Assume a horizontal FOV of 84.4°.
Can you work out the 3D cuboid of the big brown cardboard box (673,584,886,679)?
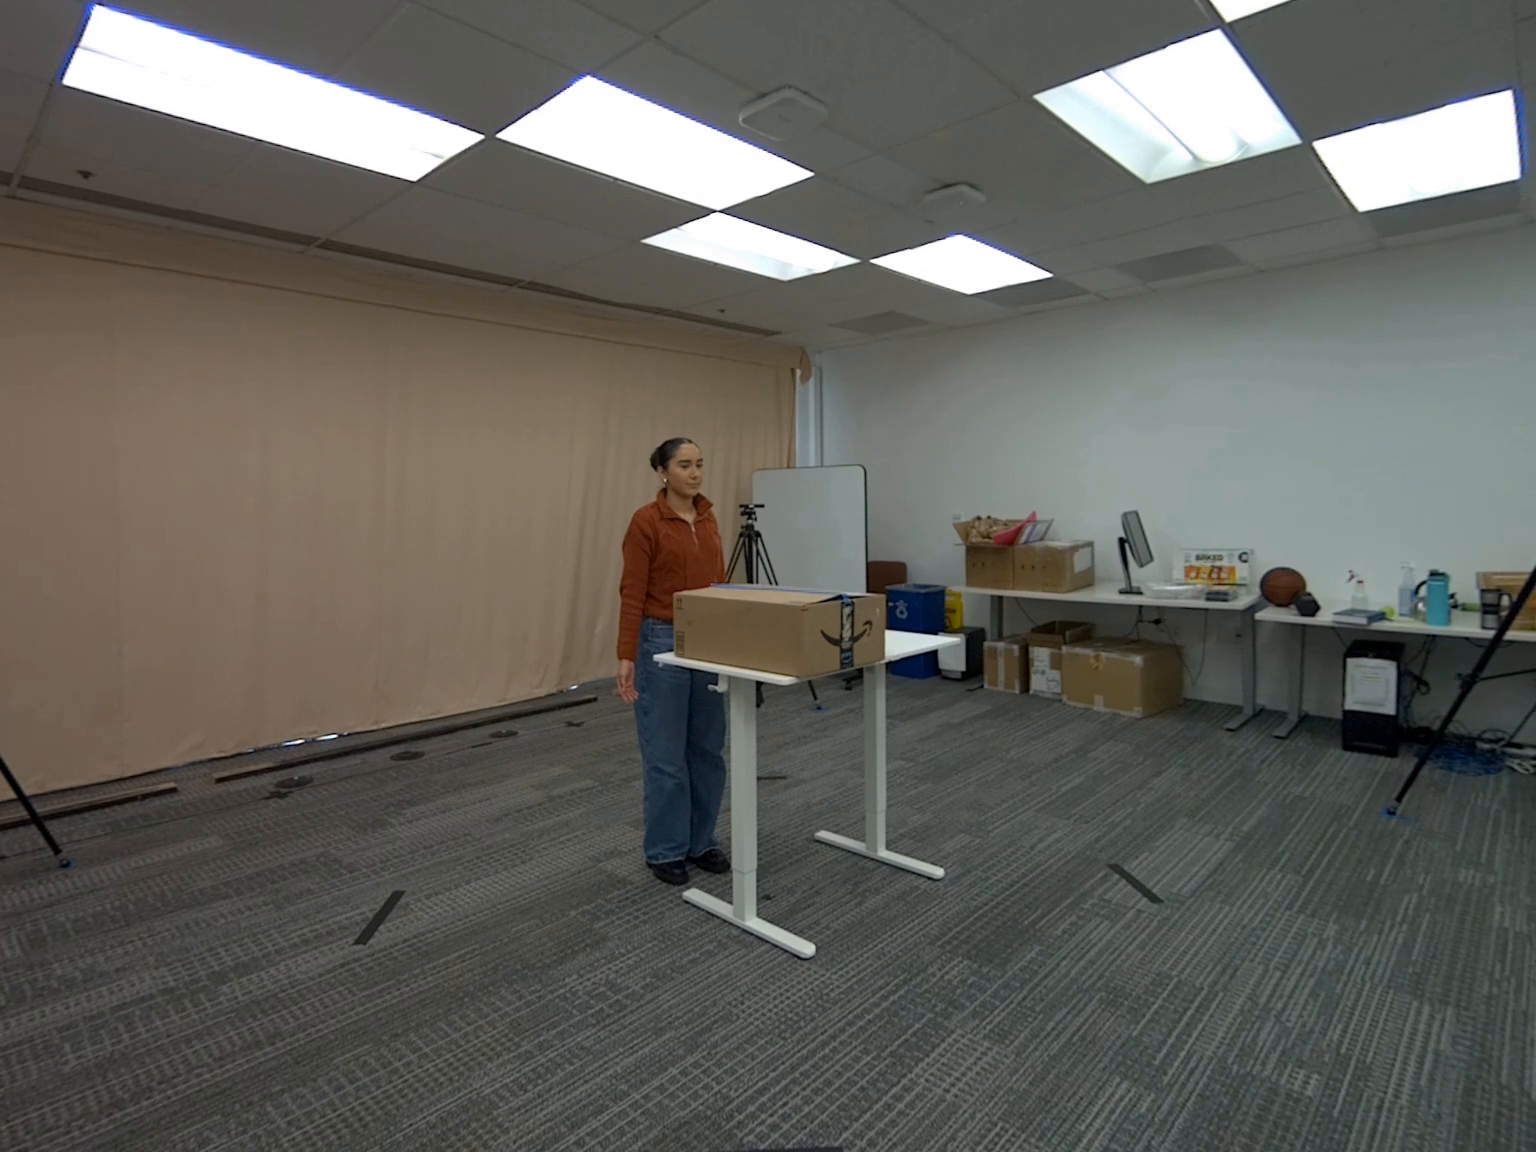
[{"bbox_3d":[0.038,0.165,2.781,0.608,0.233,0.405,3,5,43],"label":"big brown cardboard box"}]
